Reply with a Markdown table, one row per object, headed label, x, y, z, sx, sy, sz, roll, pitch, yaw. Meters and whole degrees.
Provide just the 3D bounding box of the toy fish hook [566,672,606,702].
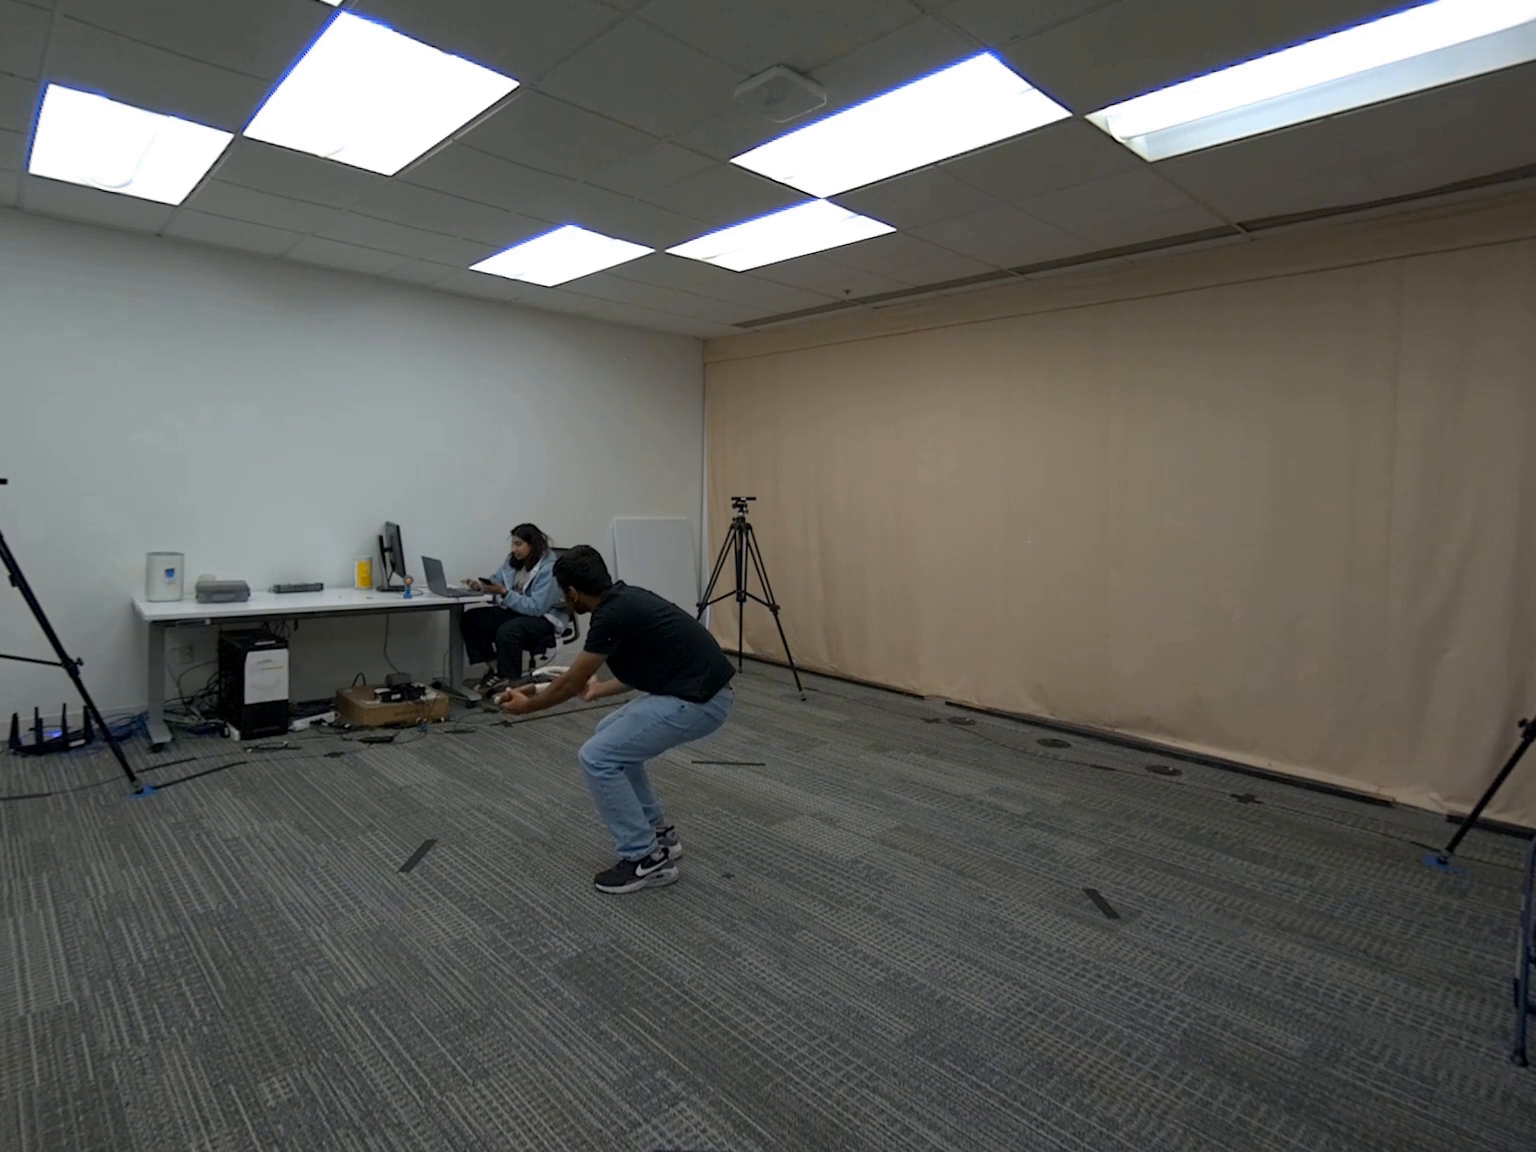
| label | x | y | z | sx | sy | sz | roll | pitch | yaw |
| --- | --- | --- | --- | --- | --- | --- | --- | --- | --- |
| toy fish hook | -0.956 | 0.450 | 3.436 | 0.231 | 0.048 | 0.496 | 15 | 12 | 33 |
